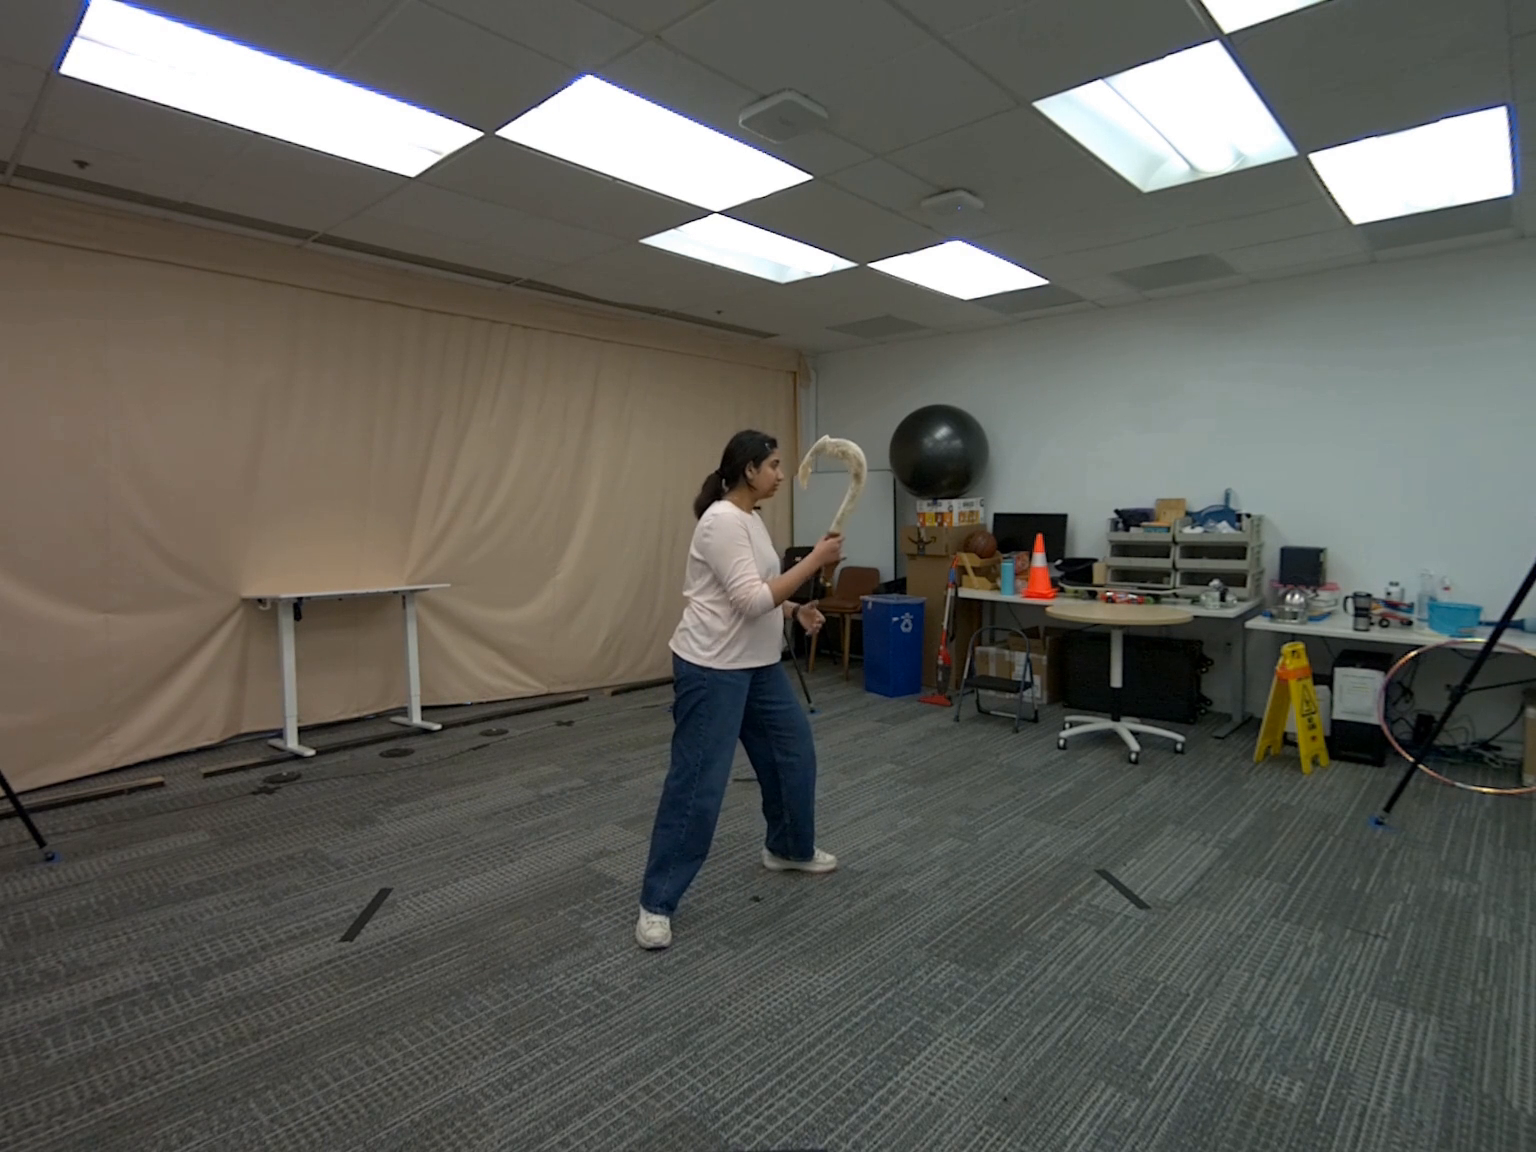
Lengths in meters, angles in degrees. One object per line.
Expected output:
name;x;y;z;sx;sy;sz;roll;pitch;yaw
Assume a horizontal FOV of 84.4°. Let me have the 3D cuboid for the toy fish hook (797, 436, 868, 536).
toy fish hook;0.198;-0.212;2.800;0.230;0.502;0.047;19;22;22
